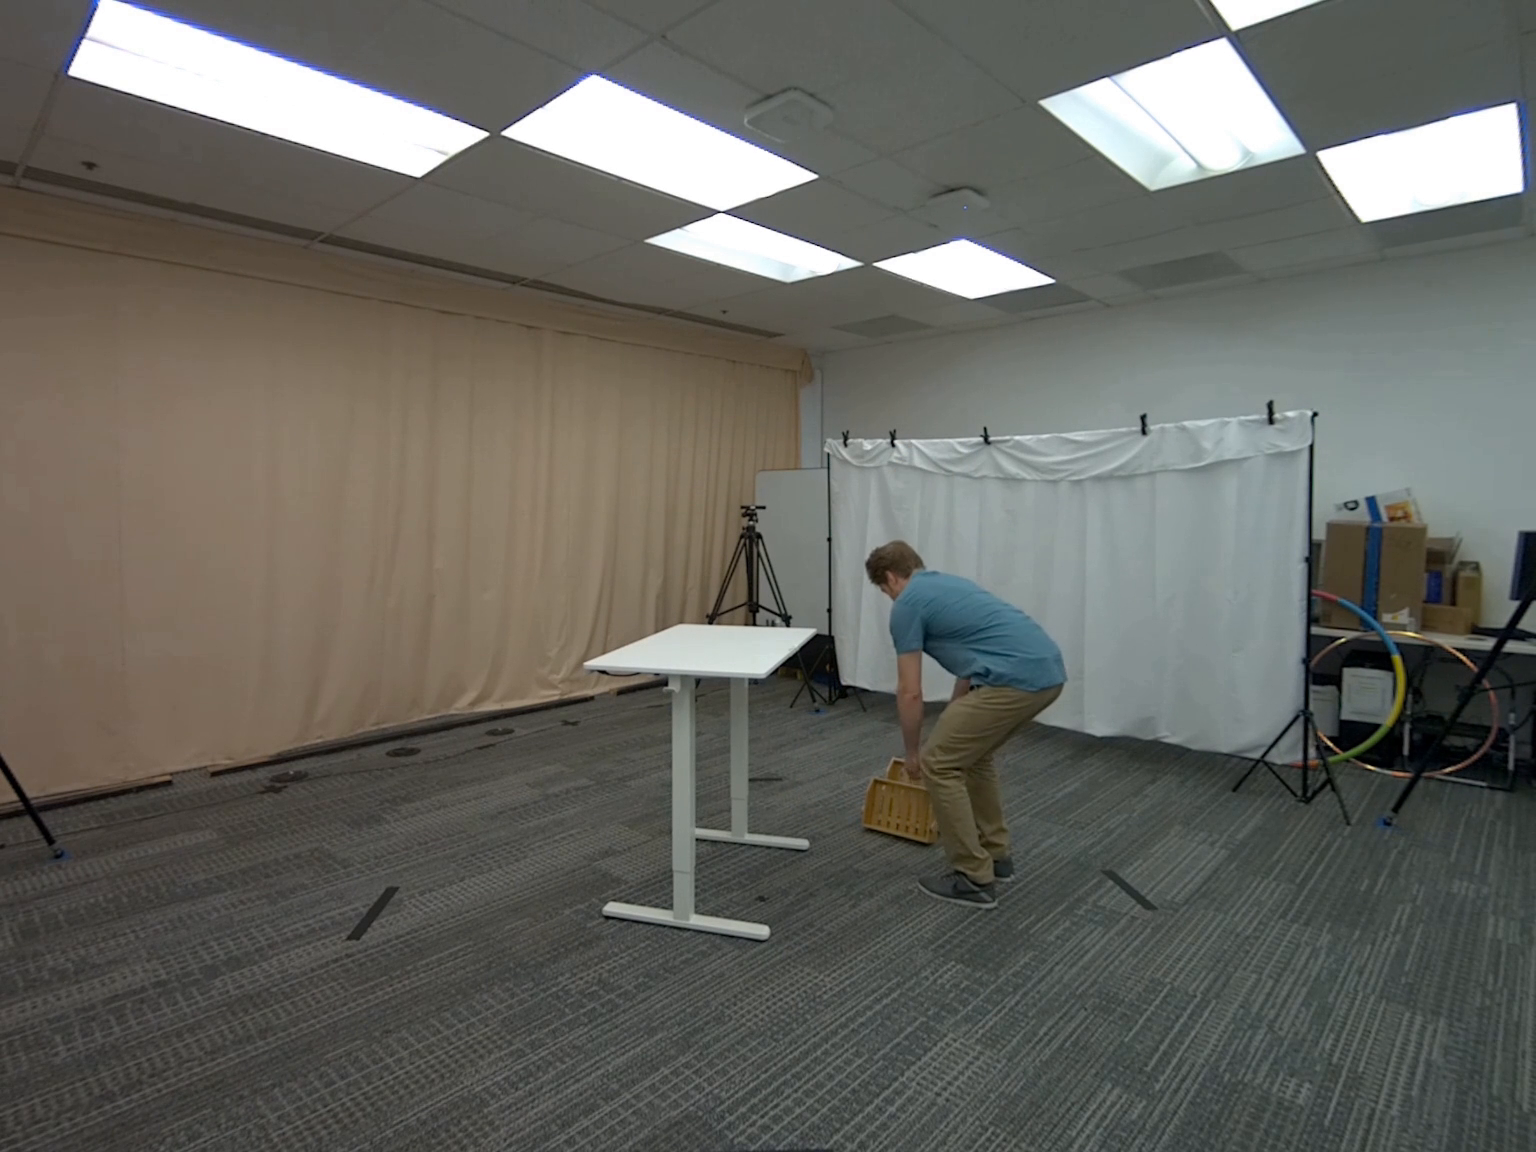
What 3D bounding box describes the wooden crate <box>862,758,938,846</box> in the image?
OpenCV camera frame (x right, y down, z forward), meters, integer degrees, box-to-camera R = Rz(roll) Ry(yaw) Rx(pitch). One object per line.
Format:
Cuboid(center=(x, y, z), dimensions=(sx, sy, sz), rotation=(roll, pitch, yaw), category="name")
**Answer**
Cuboid(center=(0.620, 0.954, 3.625), dimensions=(0.335, 0.303, 0.264), rotation=(4, -12, 34), category="wooden crate")
